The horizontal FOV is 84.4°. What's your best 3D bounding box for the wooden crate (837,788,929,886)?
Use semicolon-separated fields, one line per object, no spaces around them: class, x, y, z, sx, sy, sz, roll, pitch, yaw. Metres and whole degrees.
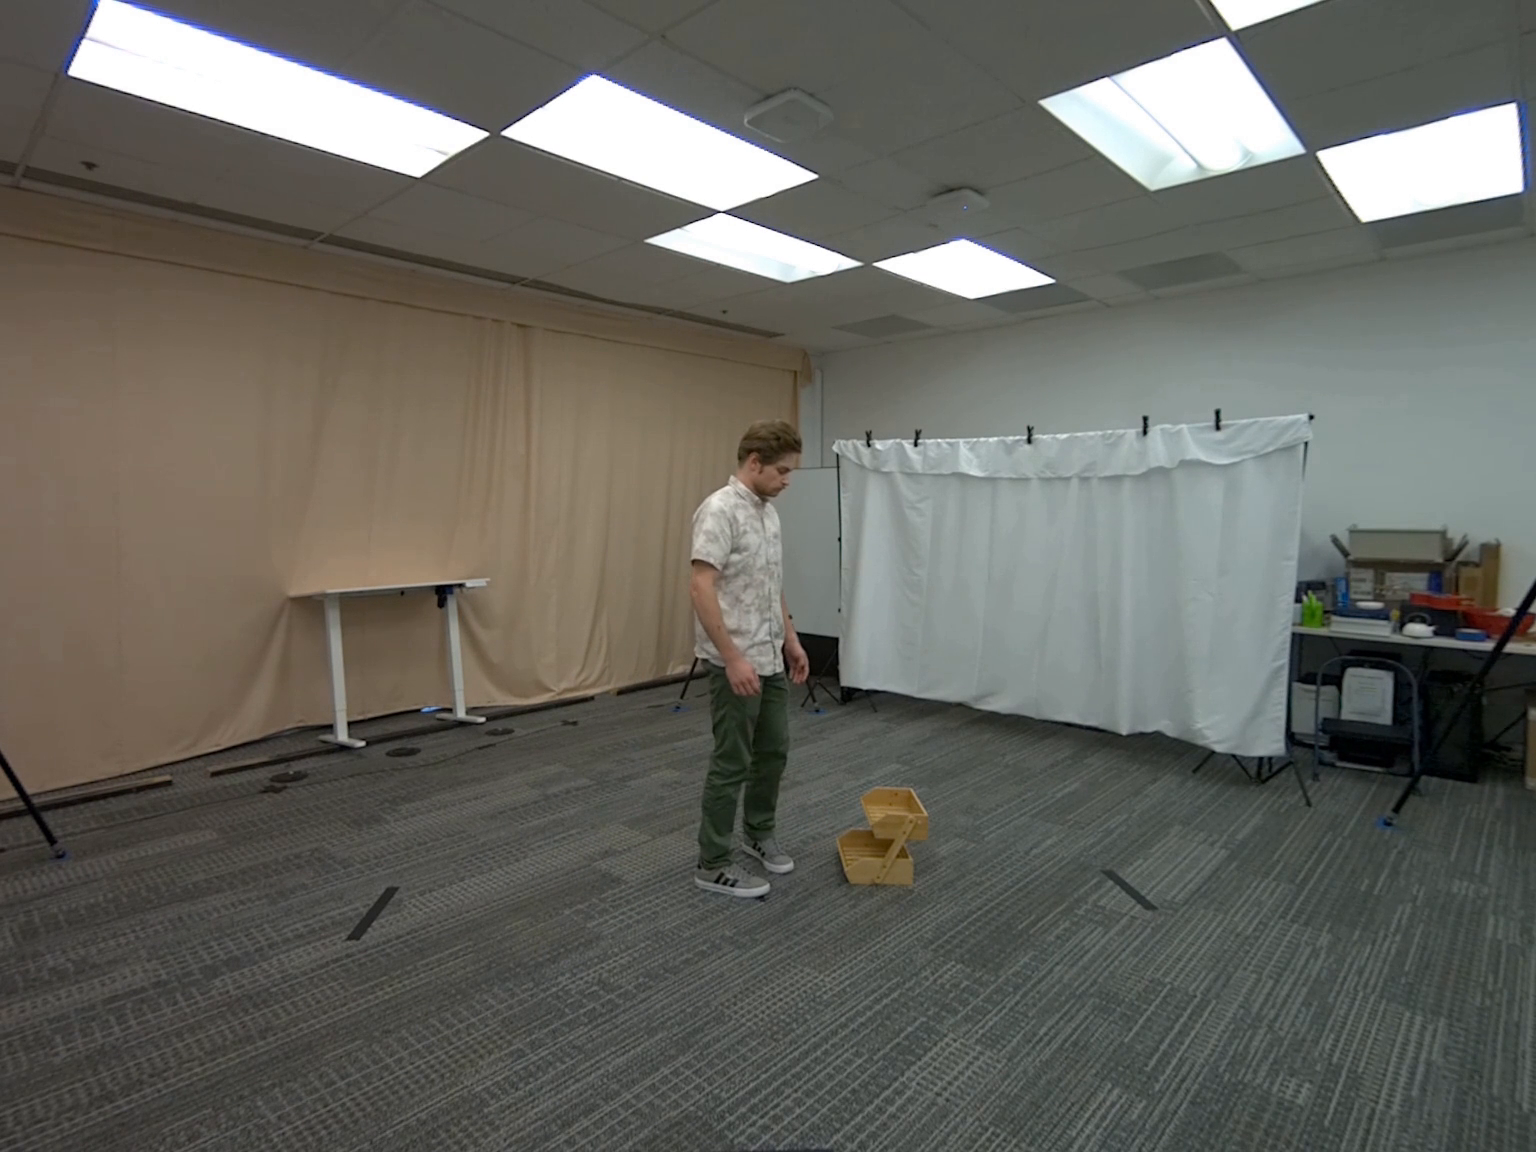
wooden crate;0.434;0.993;3.232;0.302;0.273;0.325;2;4;0
